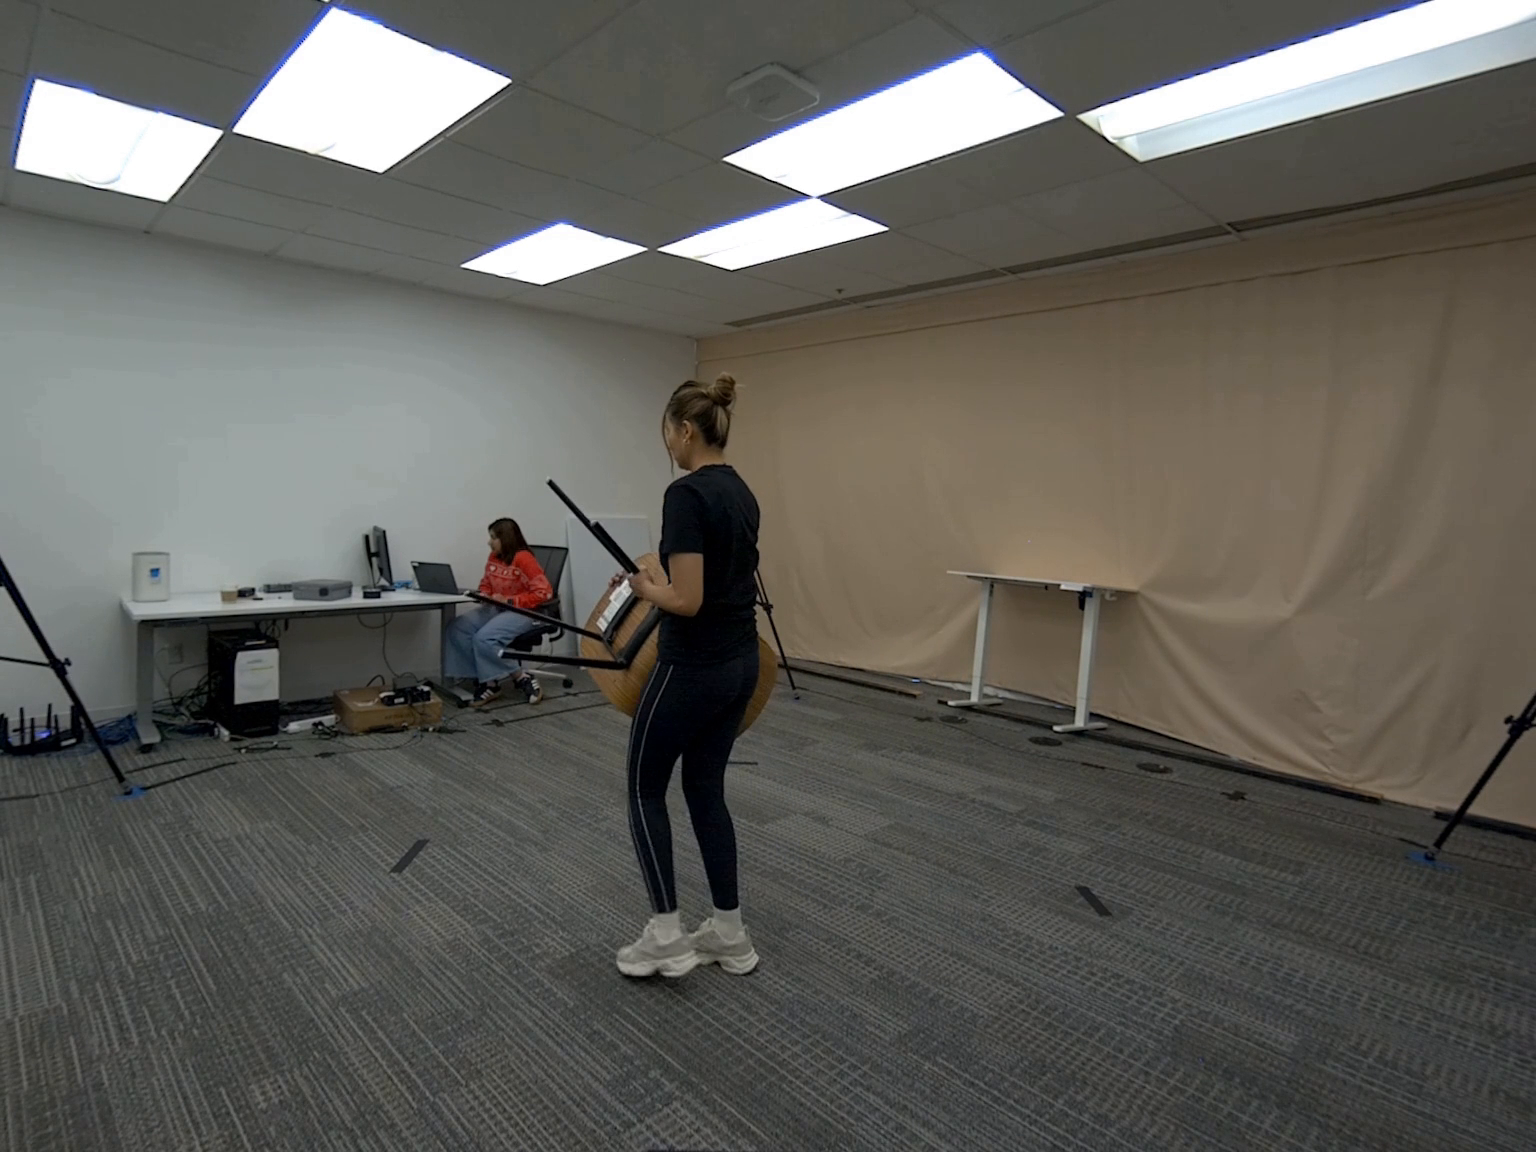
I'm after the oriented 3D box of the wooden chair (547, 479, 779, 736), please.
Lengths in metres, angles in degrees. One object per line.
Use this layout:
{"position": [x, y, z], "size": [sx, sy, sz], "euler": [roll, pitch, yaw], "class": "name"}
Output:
{"position": [-0.446, 0.154, 2.695], "size": [0.853, 0.478, 0.538], "euler": [35, -1, -31], "class": "wooden chair"}
